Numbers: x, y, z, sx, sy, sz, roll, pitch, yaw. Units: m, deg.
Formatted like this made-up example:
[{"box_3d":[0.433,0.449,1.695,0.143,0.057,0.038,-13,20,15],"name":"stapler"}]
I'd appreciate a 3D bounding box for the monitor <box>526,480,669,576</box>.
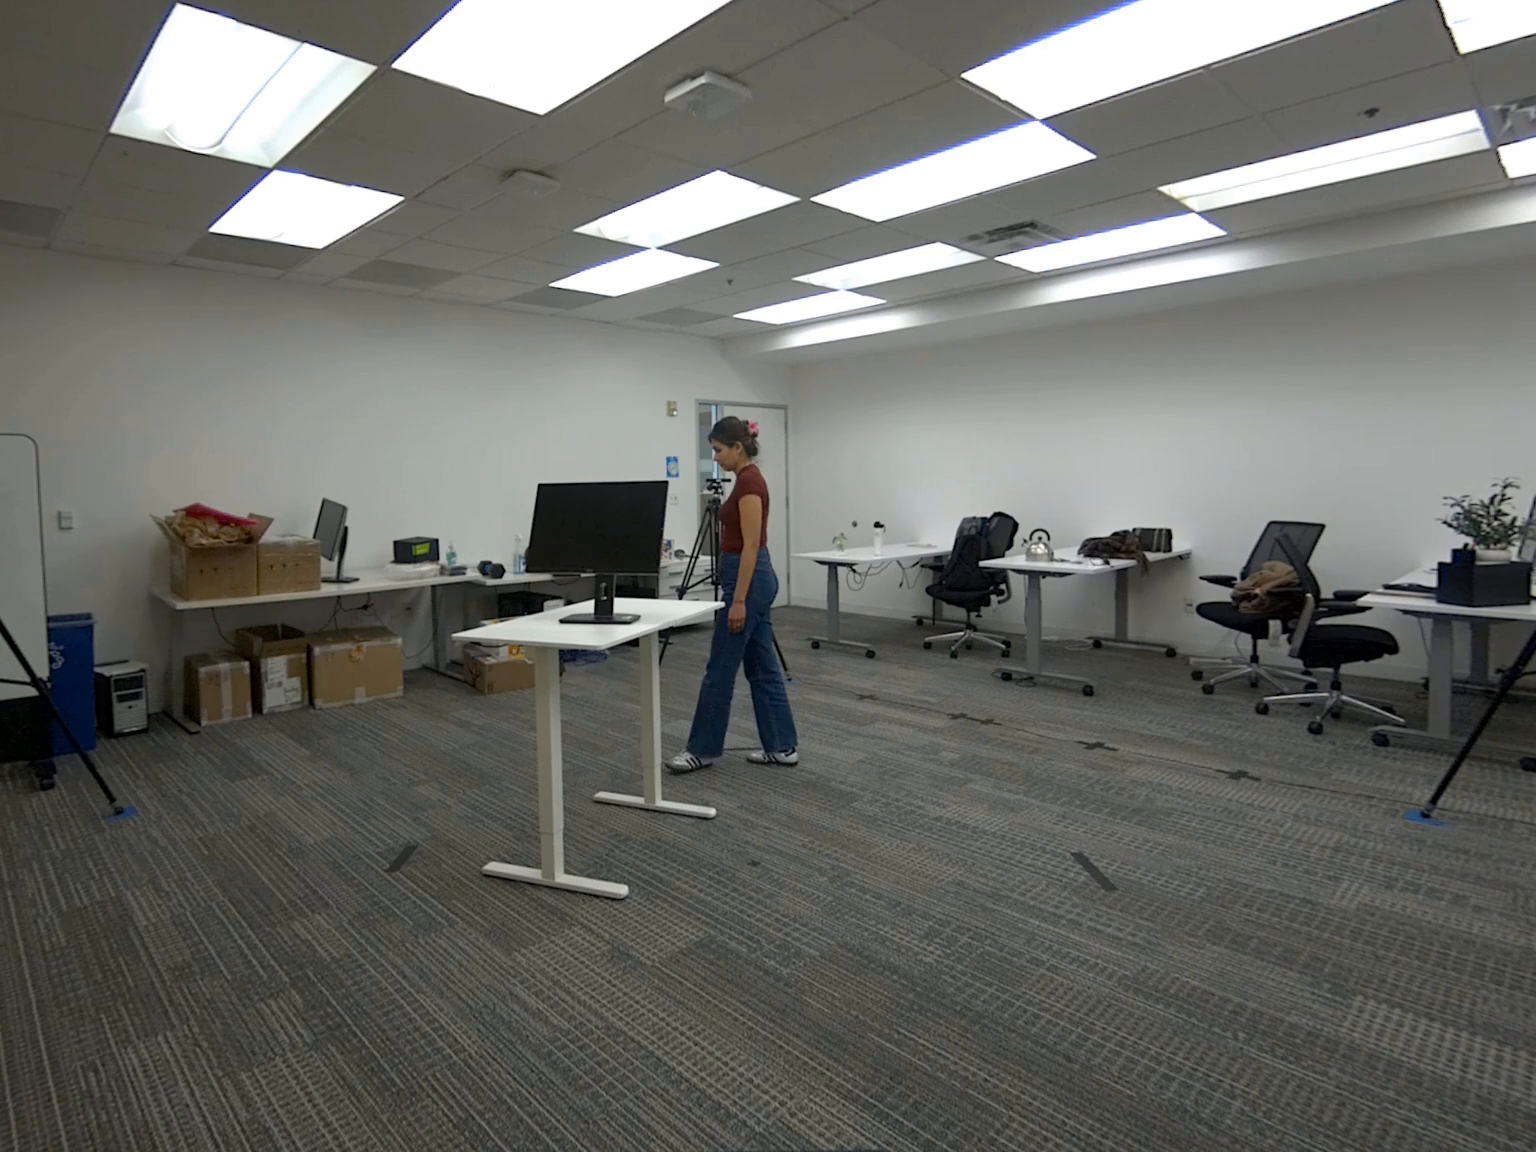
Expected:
[{"box_3d":[-0.623,-0.088,3.182,0.547,0.522,0.184,0,0,14],"name":"monitor"}]
